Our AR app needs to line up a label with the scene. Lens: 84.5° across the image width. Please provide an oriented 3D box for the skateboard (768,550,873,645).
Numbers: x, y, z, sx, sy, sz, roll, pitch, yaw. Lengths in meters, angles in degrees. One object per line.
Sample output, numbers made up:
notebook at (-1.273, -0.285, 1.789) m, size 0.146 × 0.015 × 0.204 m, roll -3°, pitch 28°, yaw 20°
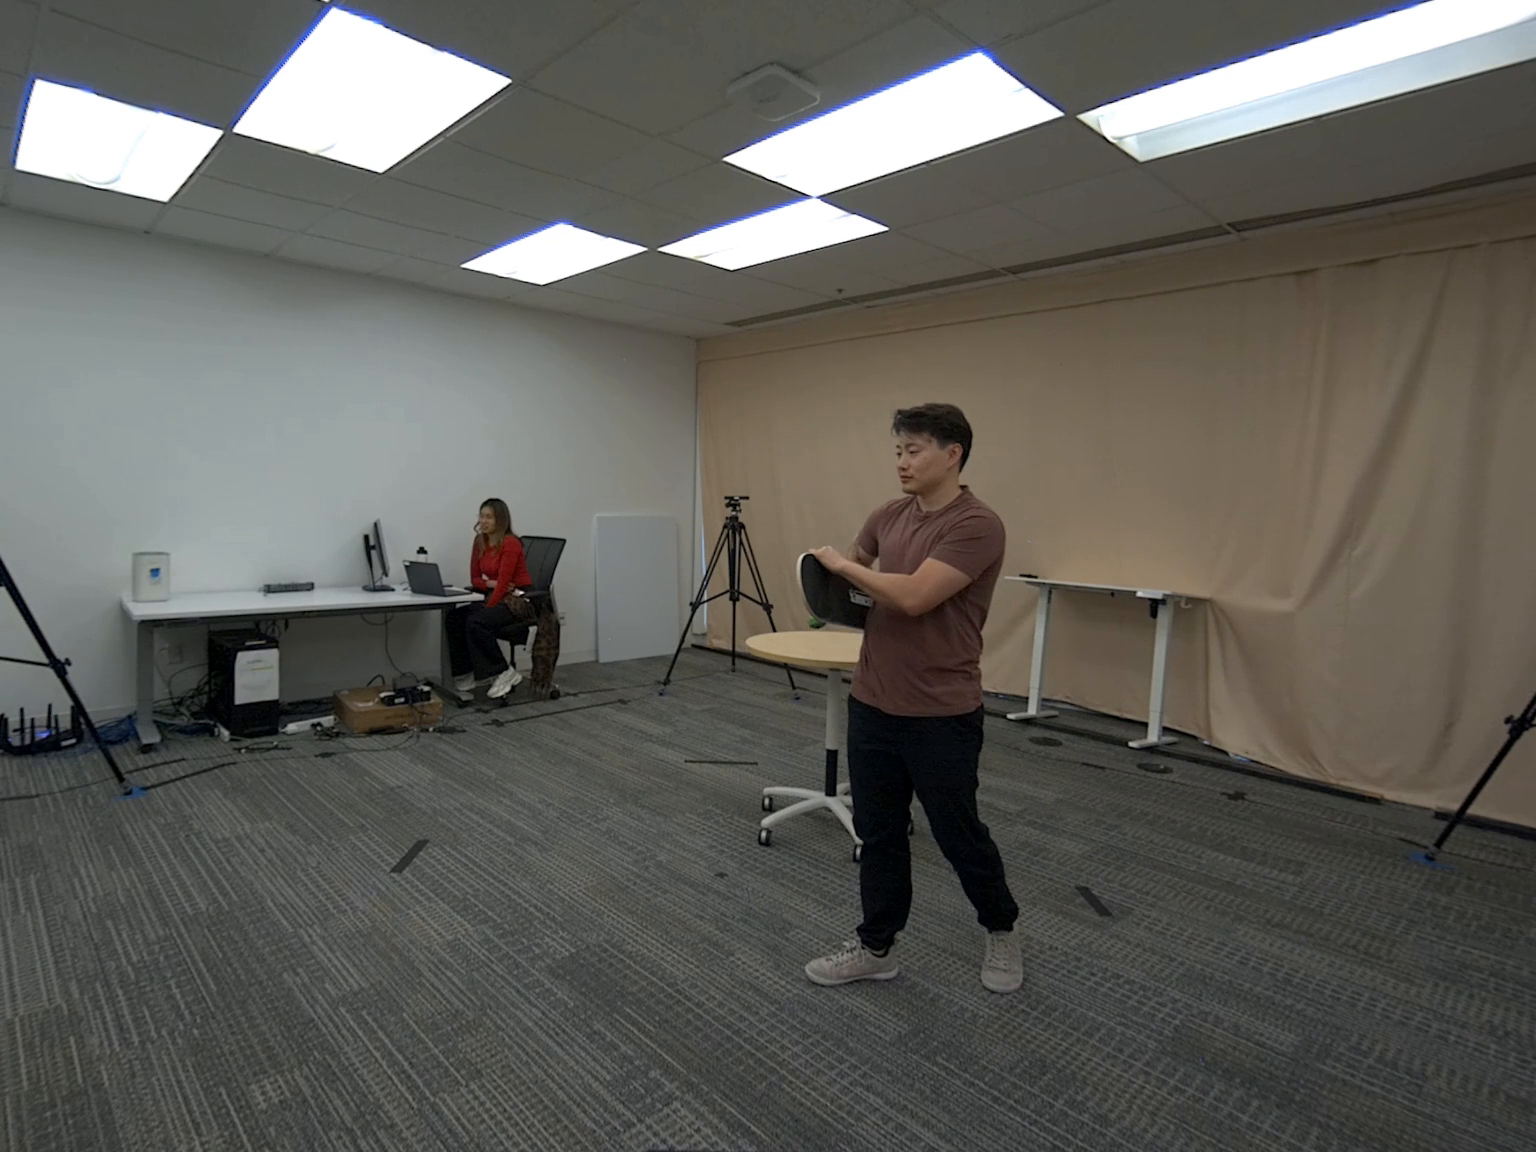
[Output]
skateboard at (0.286, 0.096, 2.565) m, size 0.112 × 0.196 × 0.763 m, roll -19°, pitch -20°, yaw 33°
